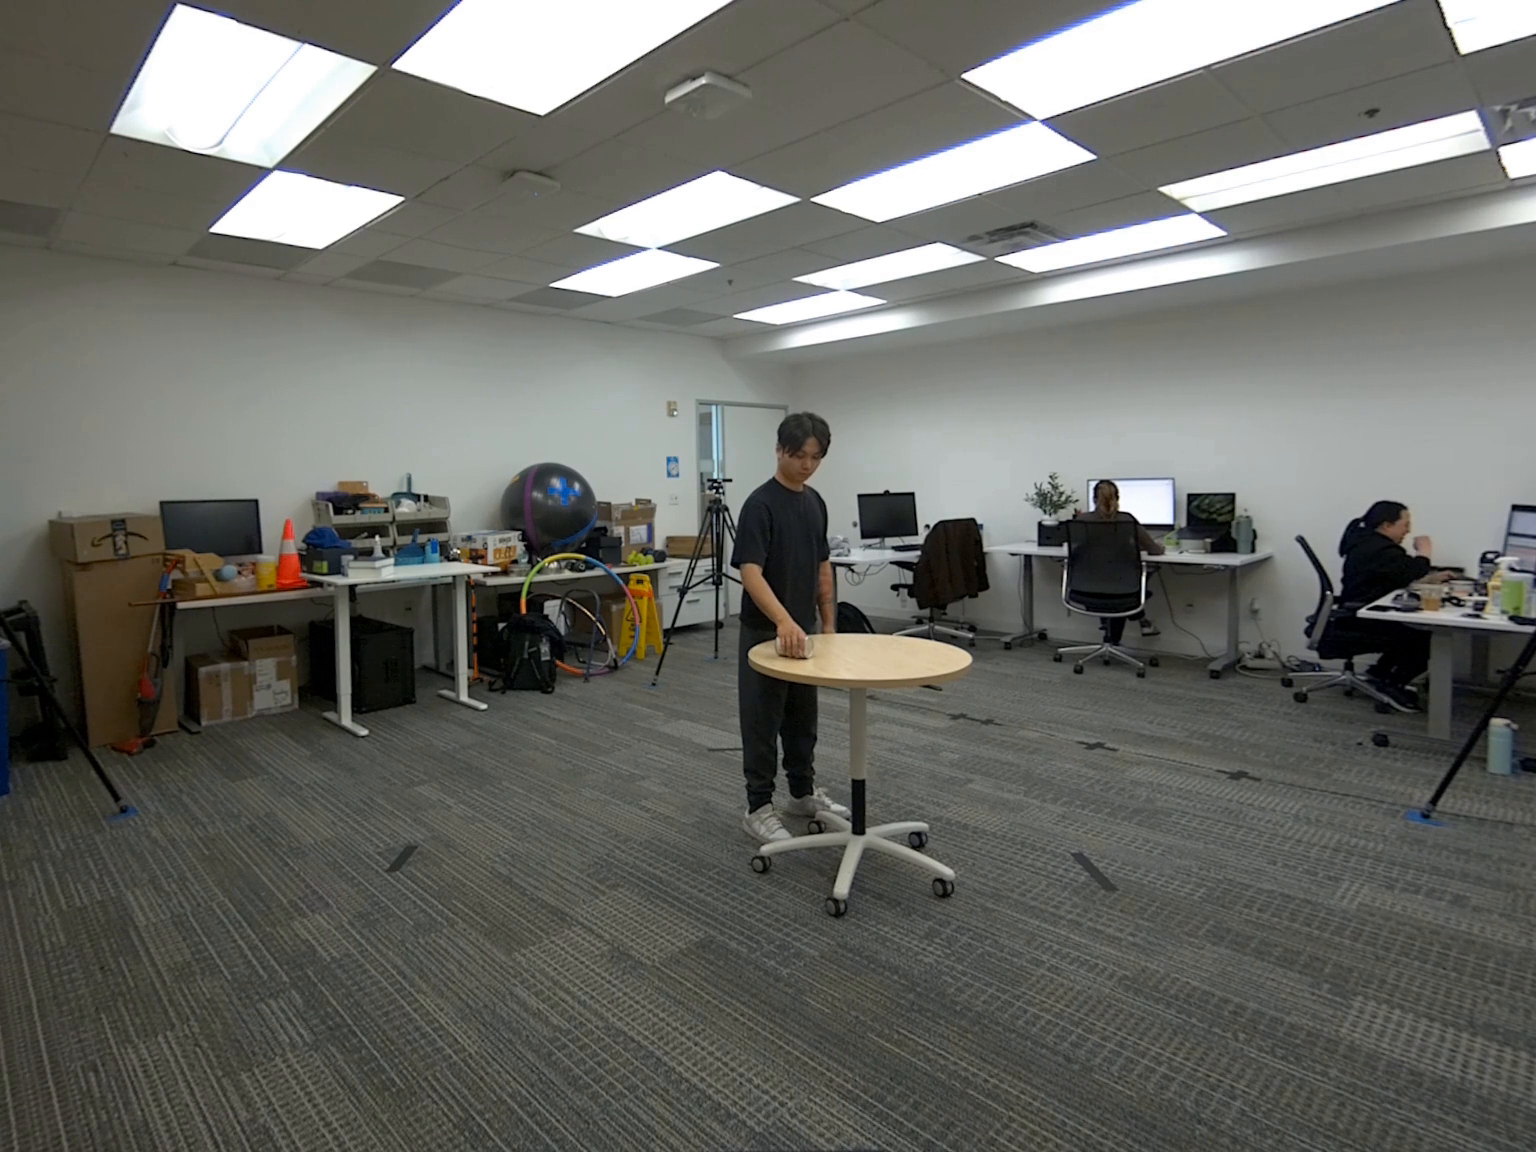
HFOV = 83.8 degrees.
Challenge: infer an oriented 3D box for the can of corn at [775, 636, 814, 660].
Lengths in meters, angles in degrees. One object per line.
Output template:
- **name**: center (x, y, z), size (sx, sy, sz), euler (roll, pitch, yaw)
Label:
- **can of corn**: center (0.092, 0.244, 2.934), size (0.113, 0.074, 0.073), euler (-2, 4, 19)
